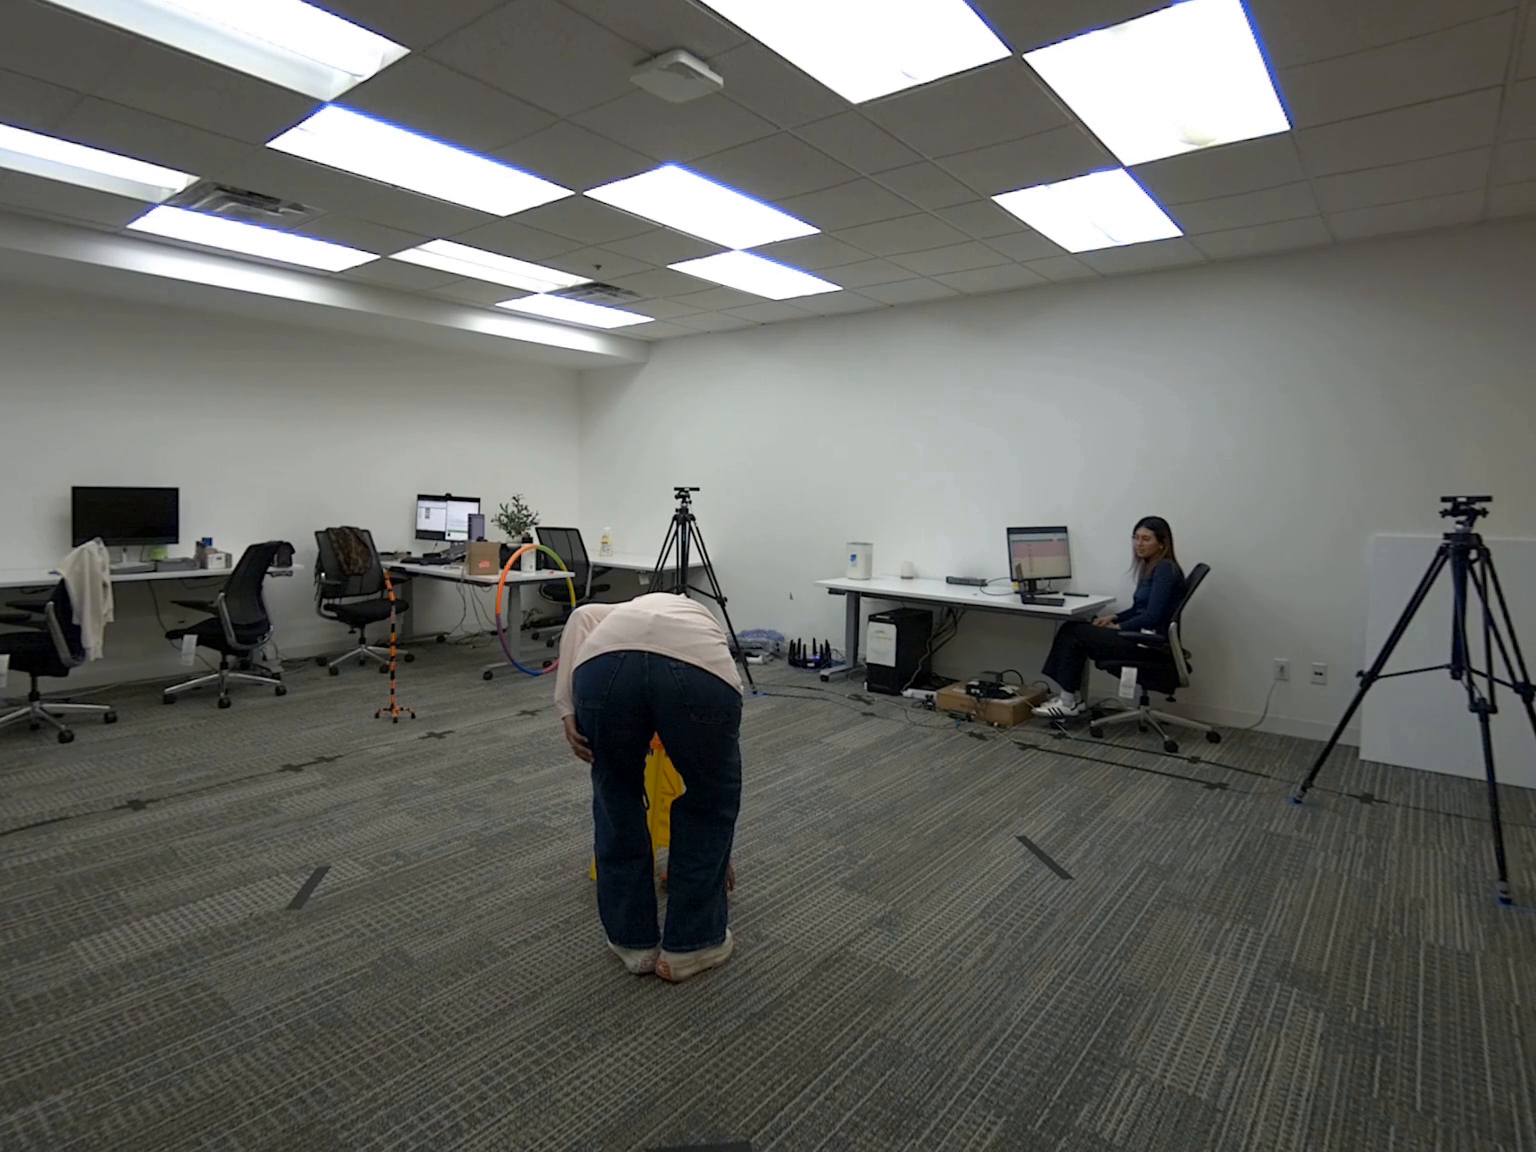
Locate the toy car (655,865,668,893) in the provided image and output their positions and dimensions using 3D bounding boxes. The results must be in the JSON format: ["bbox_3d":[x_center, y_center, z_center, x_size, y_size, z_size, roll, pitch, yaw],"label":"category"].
[{"bbox_3d":[-0.252,1.053,2.903,0.261,0.083,0.127,-10,-1,35],"label":"toy car"}]
